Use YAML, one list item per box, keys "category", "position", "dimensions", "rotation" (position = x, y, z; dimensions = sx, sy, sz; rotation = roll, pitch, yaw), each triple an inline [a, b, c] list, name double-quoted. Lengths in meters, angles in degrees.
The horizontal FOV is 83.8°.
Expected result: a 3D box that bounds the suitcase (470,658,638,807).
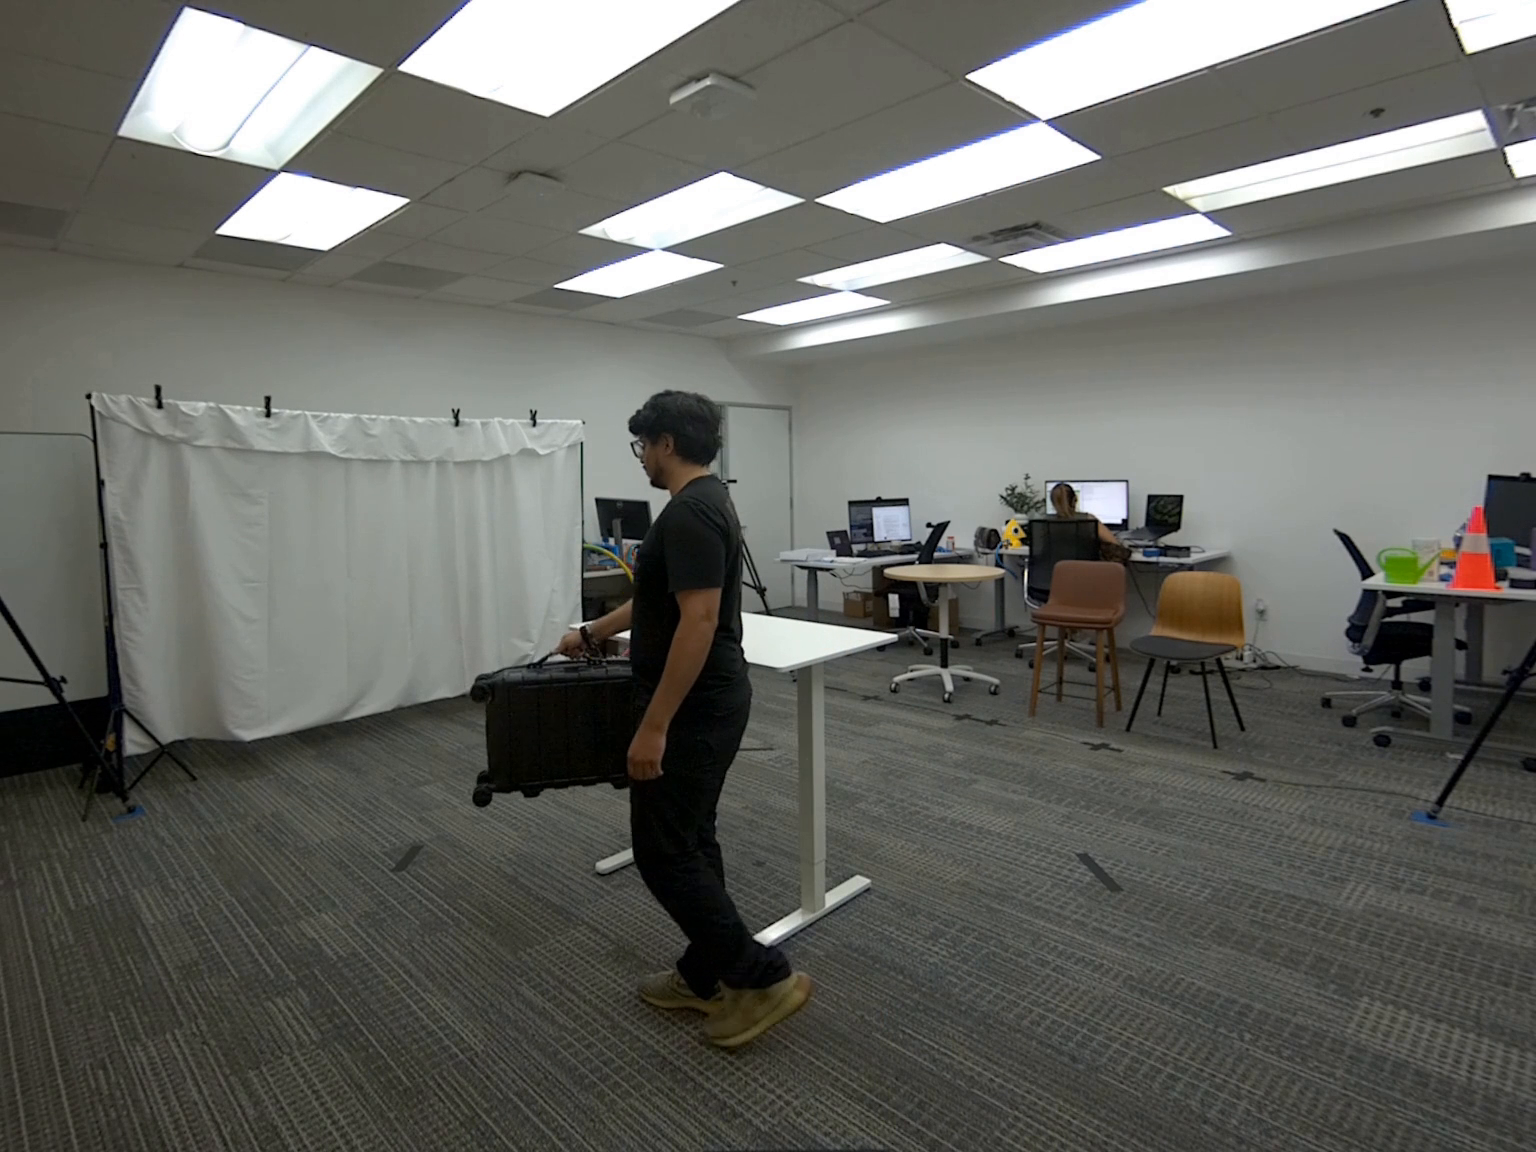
- category: "suitcase"
  position: [-0.595, 0.436, 2.557]
  dimensions: [0.543, 0.376, 0.251]
  rotation: [-2, -2, -13]
